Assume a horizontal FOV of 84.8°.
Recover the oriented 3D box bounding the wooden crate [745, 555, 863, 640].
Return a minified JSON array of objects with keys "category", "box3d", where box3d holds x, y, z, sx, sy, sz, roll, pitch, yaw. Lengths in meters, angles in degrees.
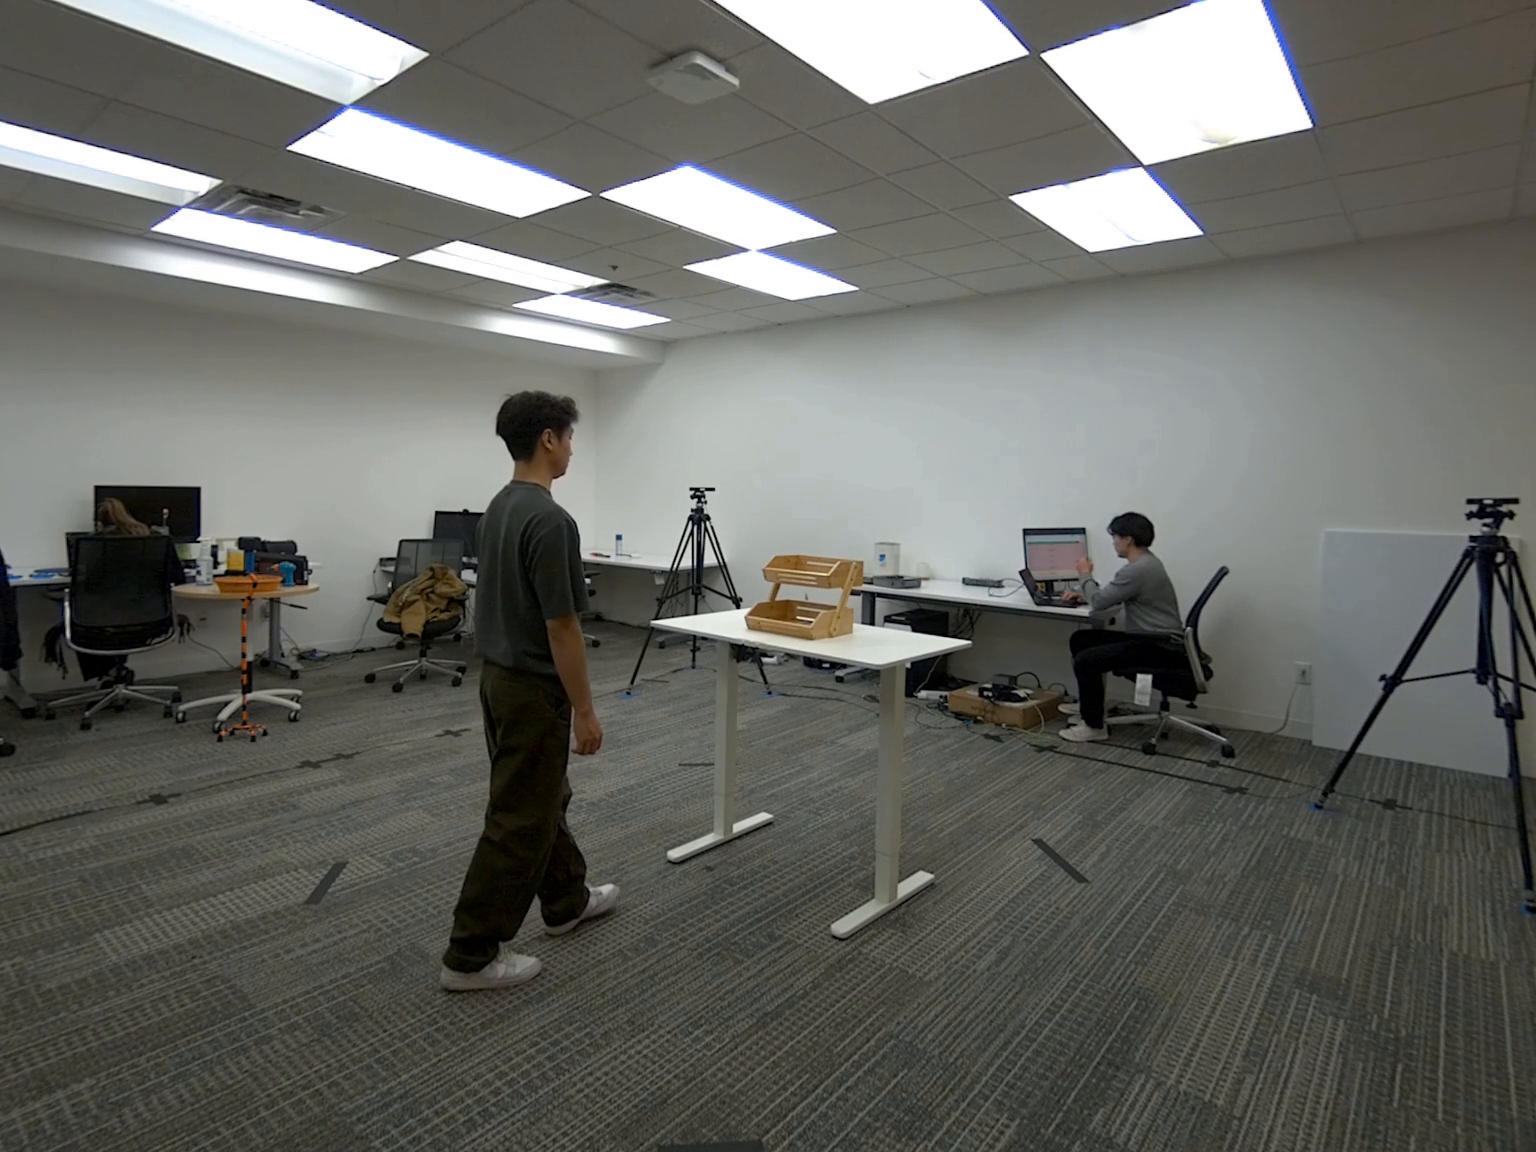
[{"category":"wooden crate","box3d":[0.120,0.062,3.071,0.336,0.272,0.293,6,6,41]}]
